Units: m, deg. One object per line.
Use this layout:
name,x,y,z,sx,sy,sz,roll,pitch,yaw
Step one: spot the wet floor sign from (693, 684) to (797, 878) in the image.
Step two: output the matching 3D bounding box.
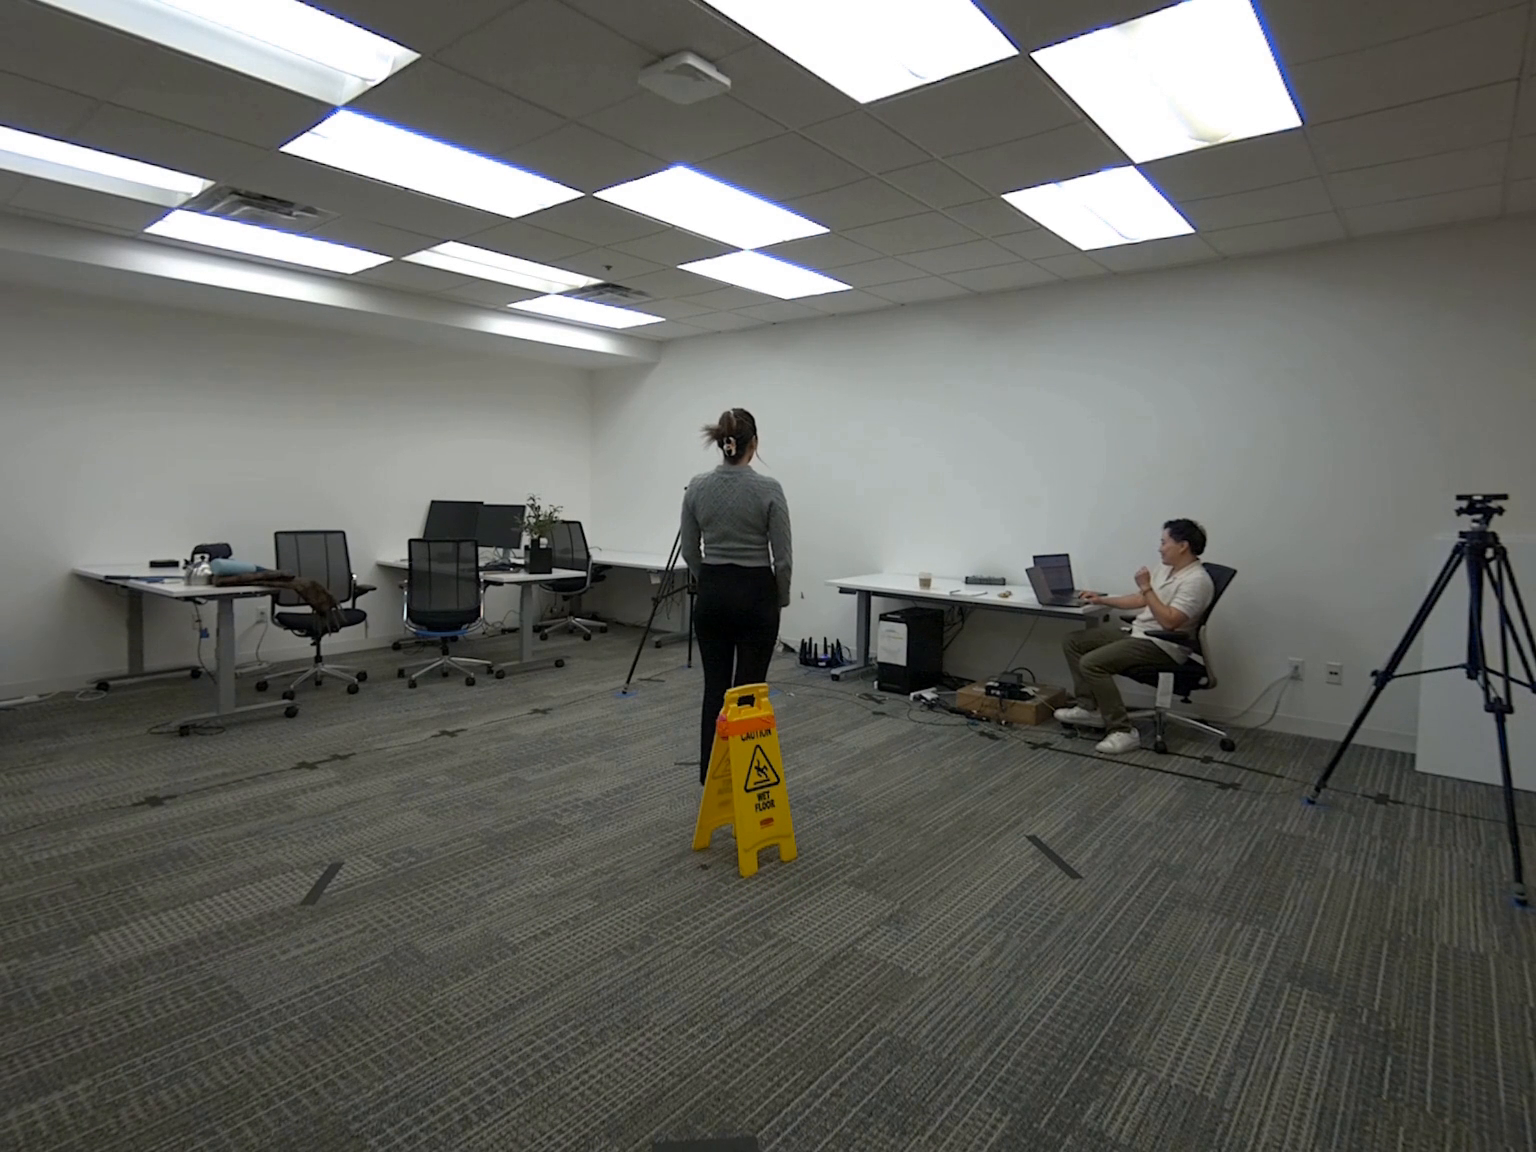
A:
wet floor sign,-0.092,0.733,3.221,0.274,0.644,0.299,-2,4,-42
